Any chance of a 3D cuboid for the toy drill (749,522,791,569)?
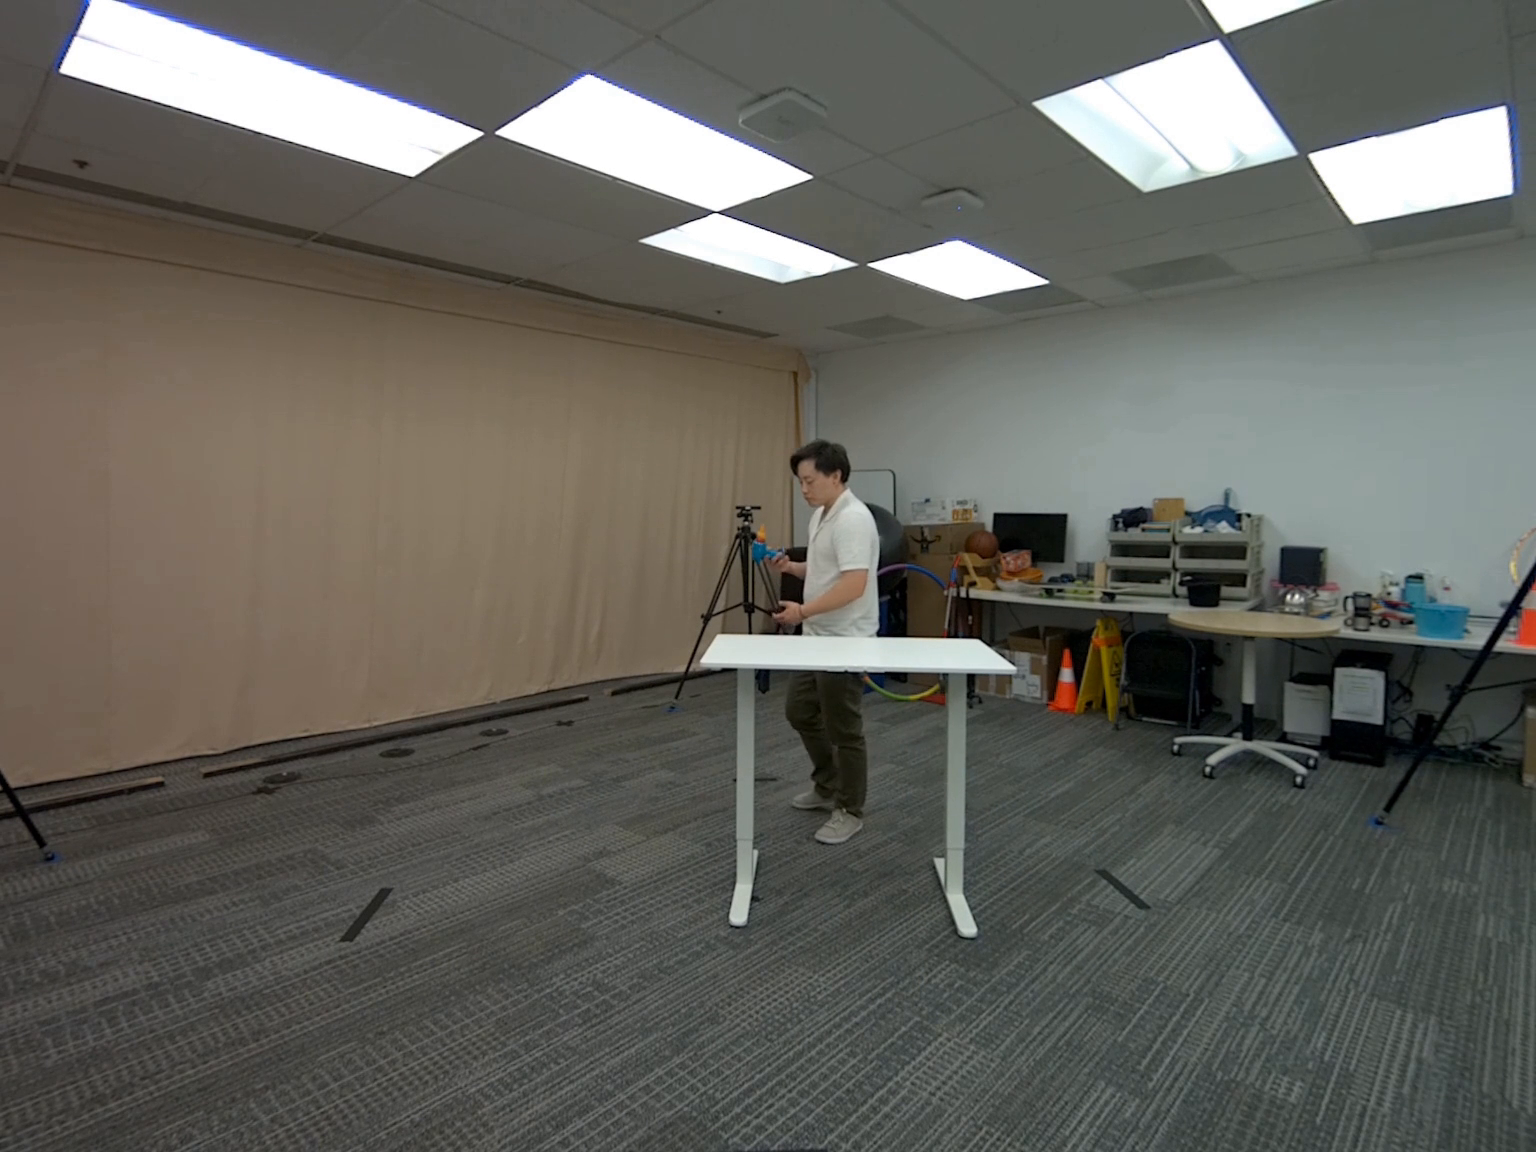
[{"bbox_3d":[0.005,-0.129,3.552,0.146,0.168,0.061,8,18,0],"label":"toy drill"}]
